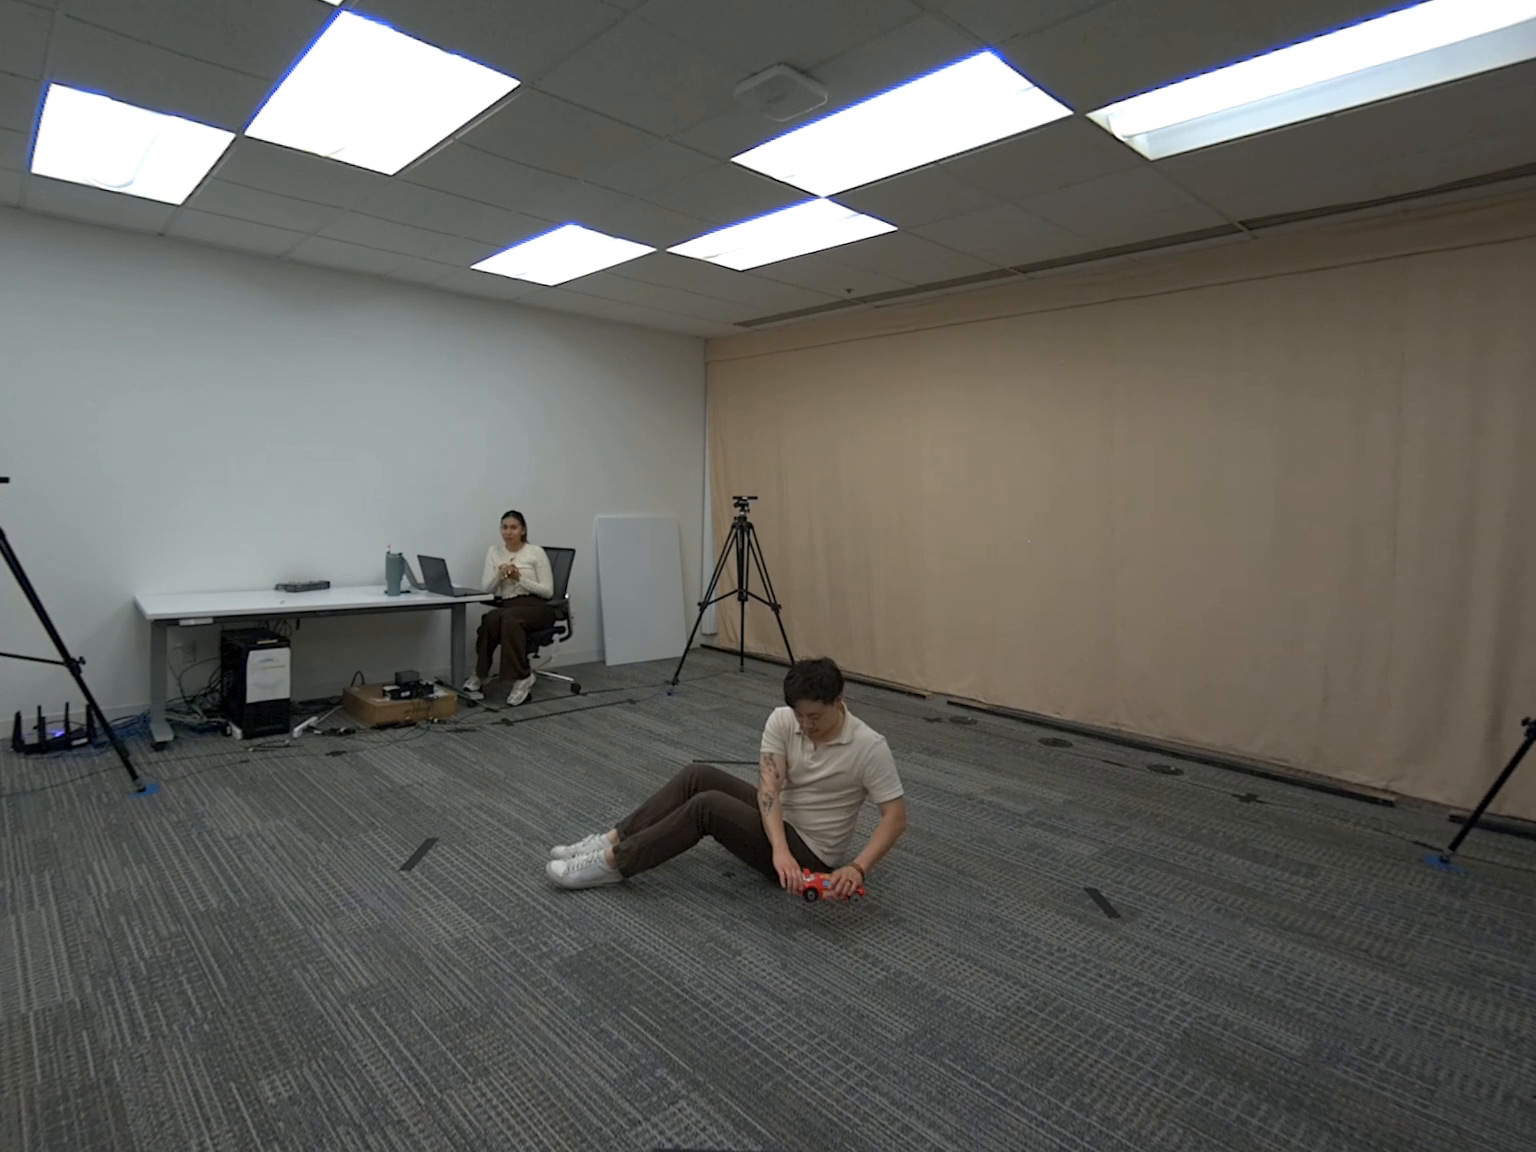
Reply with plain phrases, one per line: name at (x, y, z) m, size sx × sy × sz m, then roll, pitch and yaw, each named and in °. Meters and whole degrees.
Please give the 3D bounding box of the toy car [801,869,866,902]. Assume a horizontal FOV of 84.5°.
toy car at (0.158, 1.013, 2.738) m, size 0.253 × 0.083 × 0.130 m, roll 18°, pitch -3°, yaw -4°
